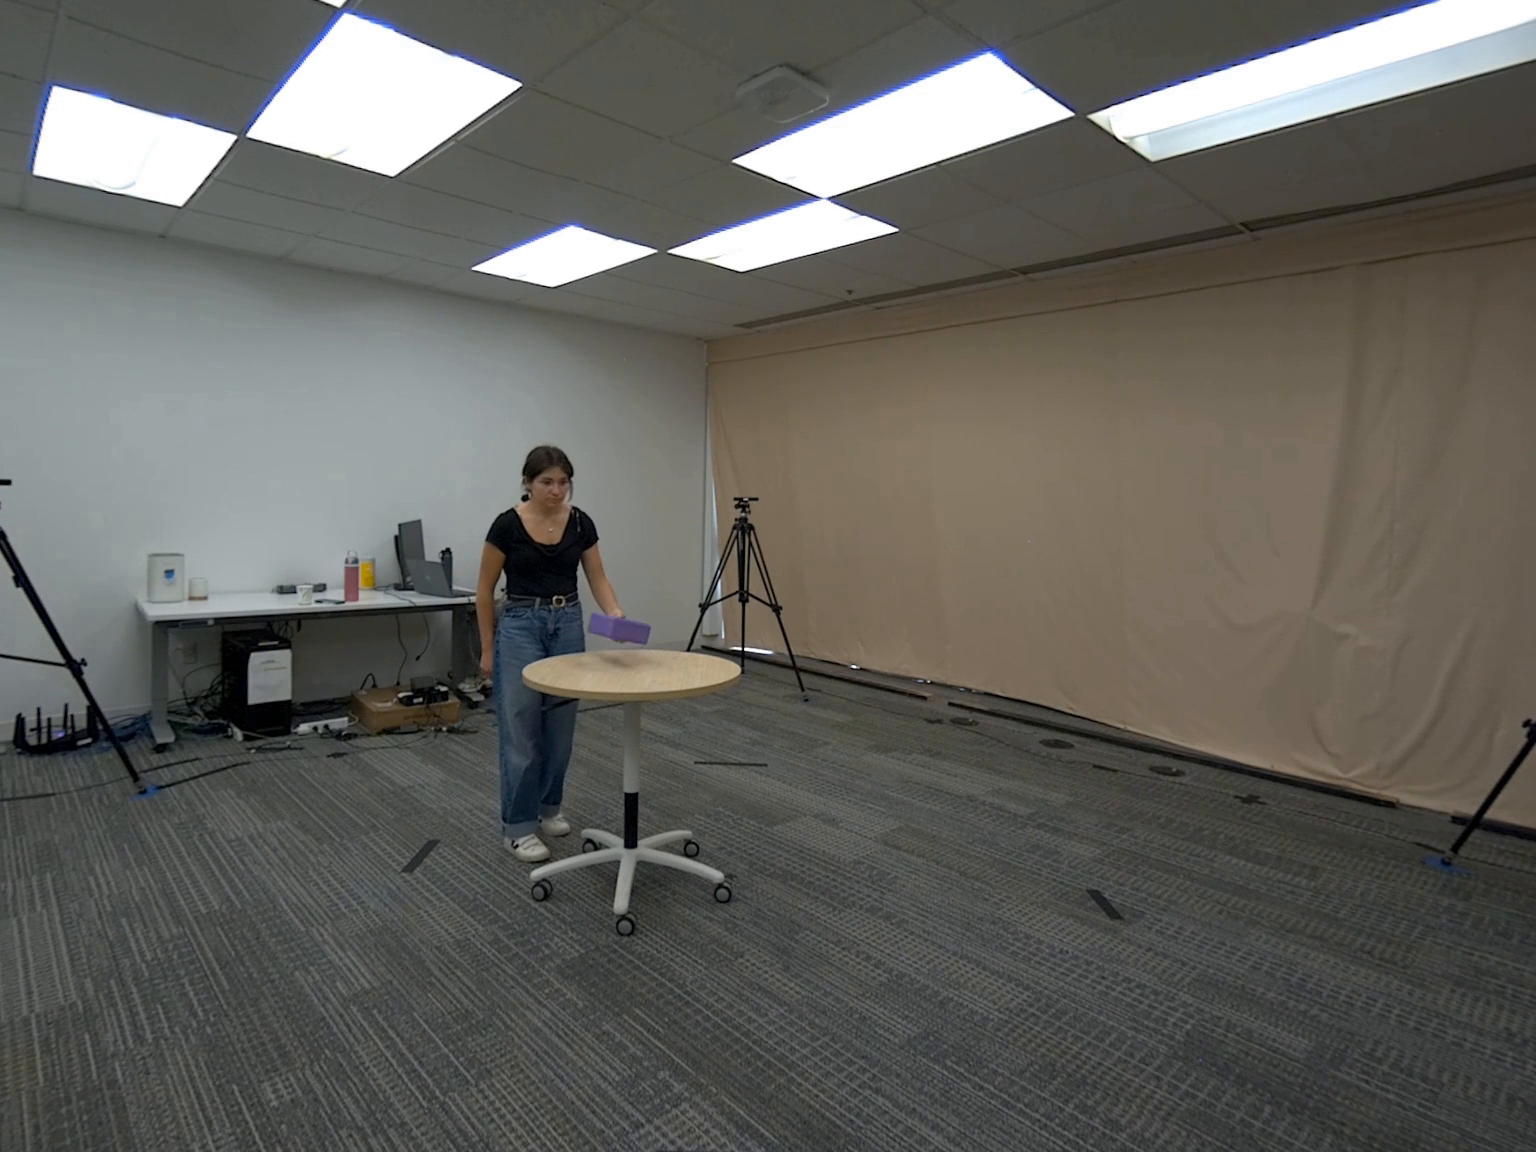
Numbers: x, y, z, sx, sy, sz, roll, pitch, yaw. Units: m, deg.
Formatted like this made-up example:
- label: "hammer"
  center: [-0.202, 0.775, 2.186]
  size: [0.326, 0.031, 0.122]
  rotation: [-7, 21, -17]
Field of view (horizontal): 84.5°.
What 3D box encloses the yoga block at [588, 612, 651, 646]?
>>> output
- label: "yoga block"
  center: [-0.551, 0.197, 3.068]
  size: [0.145, 0.077, 0.234]
  rotation: [15, -6, -33]
